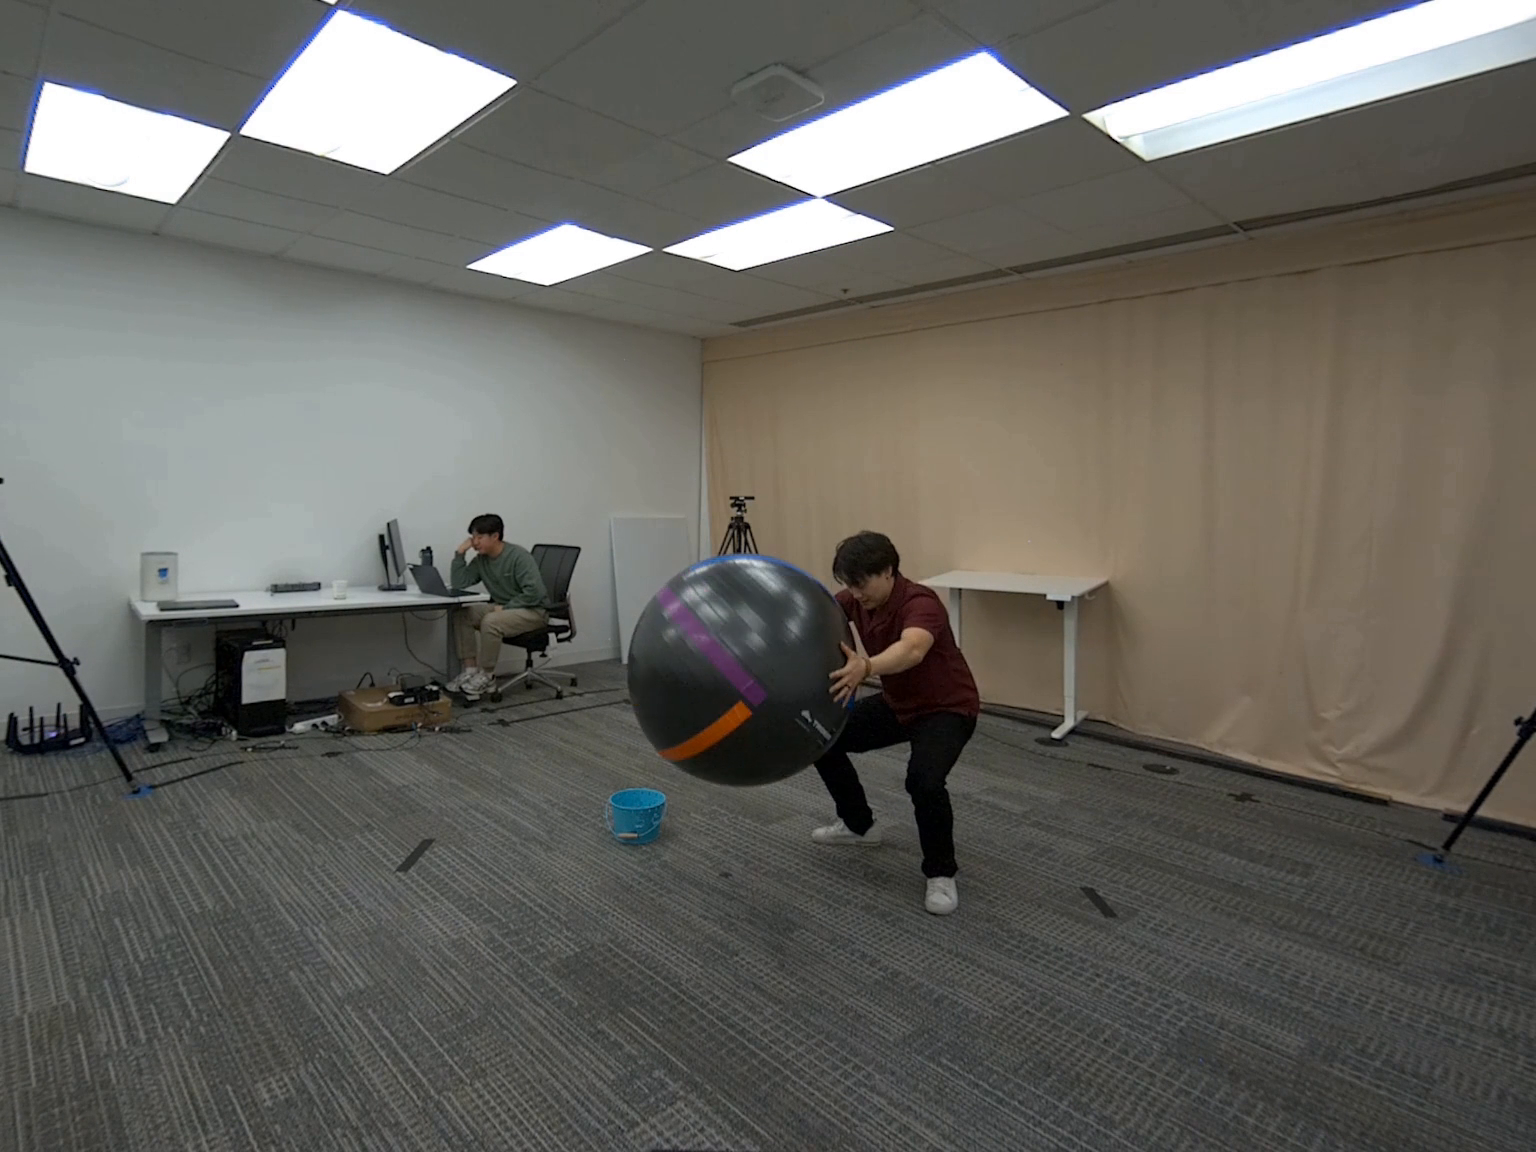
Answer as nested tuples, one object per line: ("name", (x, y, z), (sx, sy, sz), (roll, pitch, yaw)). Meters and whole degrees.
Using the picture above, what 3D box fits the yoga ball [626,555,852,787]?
("yoga ball", (-0.085, 0.308, 2.773), (0.757, 0.756, 0.761), (1, 4, -1))
